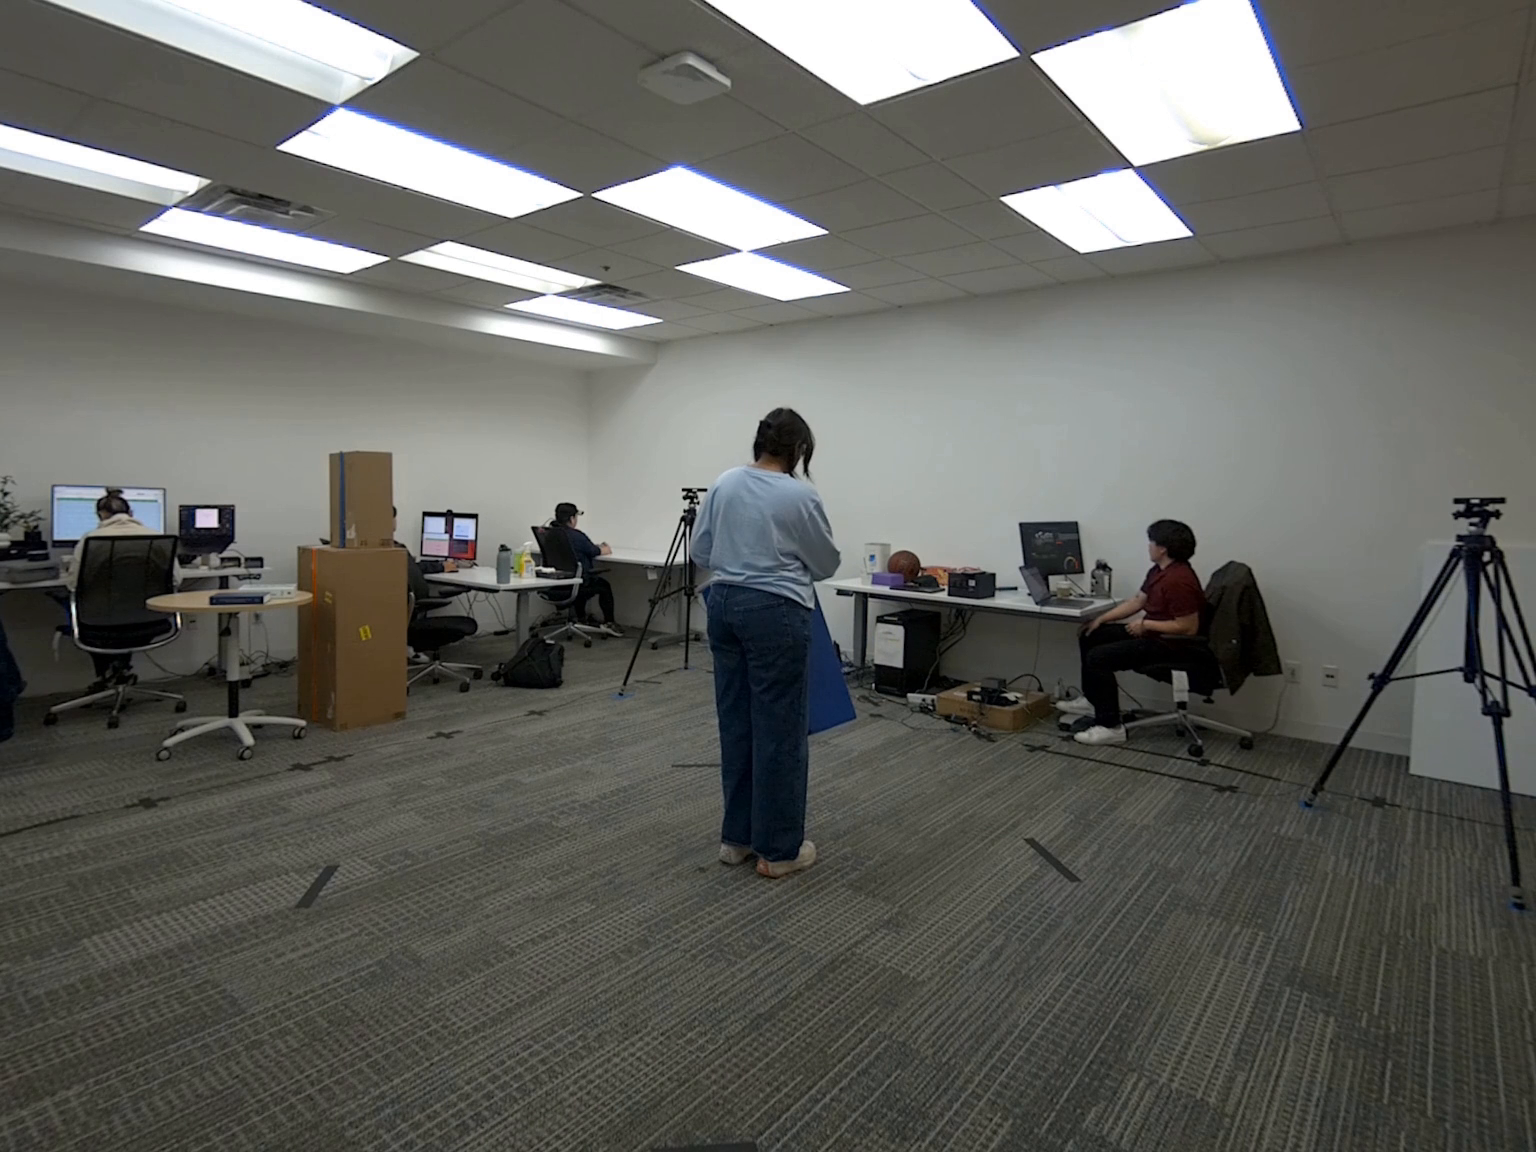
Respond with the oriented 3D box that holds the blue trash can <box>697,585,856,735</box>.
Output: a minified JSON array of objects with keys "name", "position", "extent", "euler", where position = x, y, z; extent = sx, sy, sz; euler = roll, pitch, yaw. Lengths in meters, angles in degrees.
[{"name":"blue trash can","position":[0.044,0.298,3.482],"extent":[0.367,0.727,0.378],"euler":[-6,-20,-45]}]
